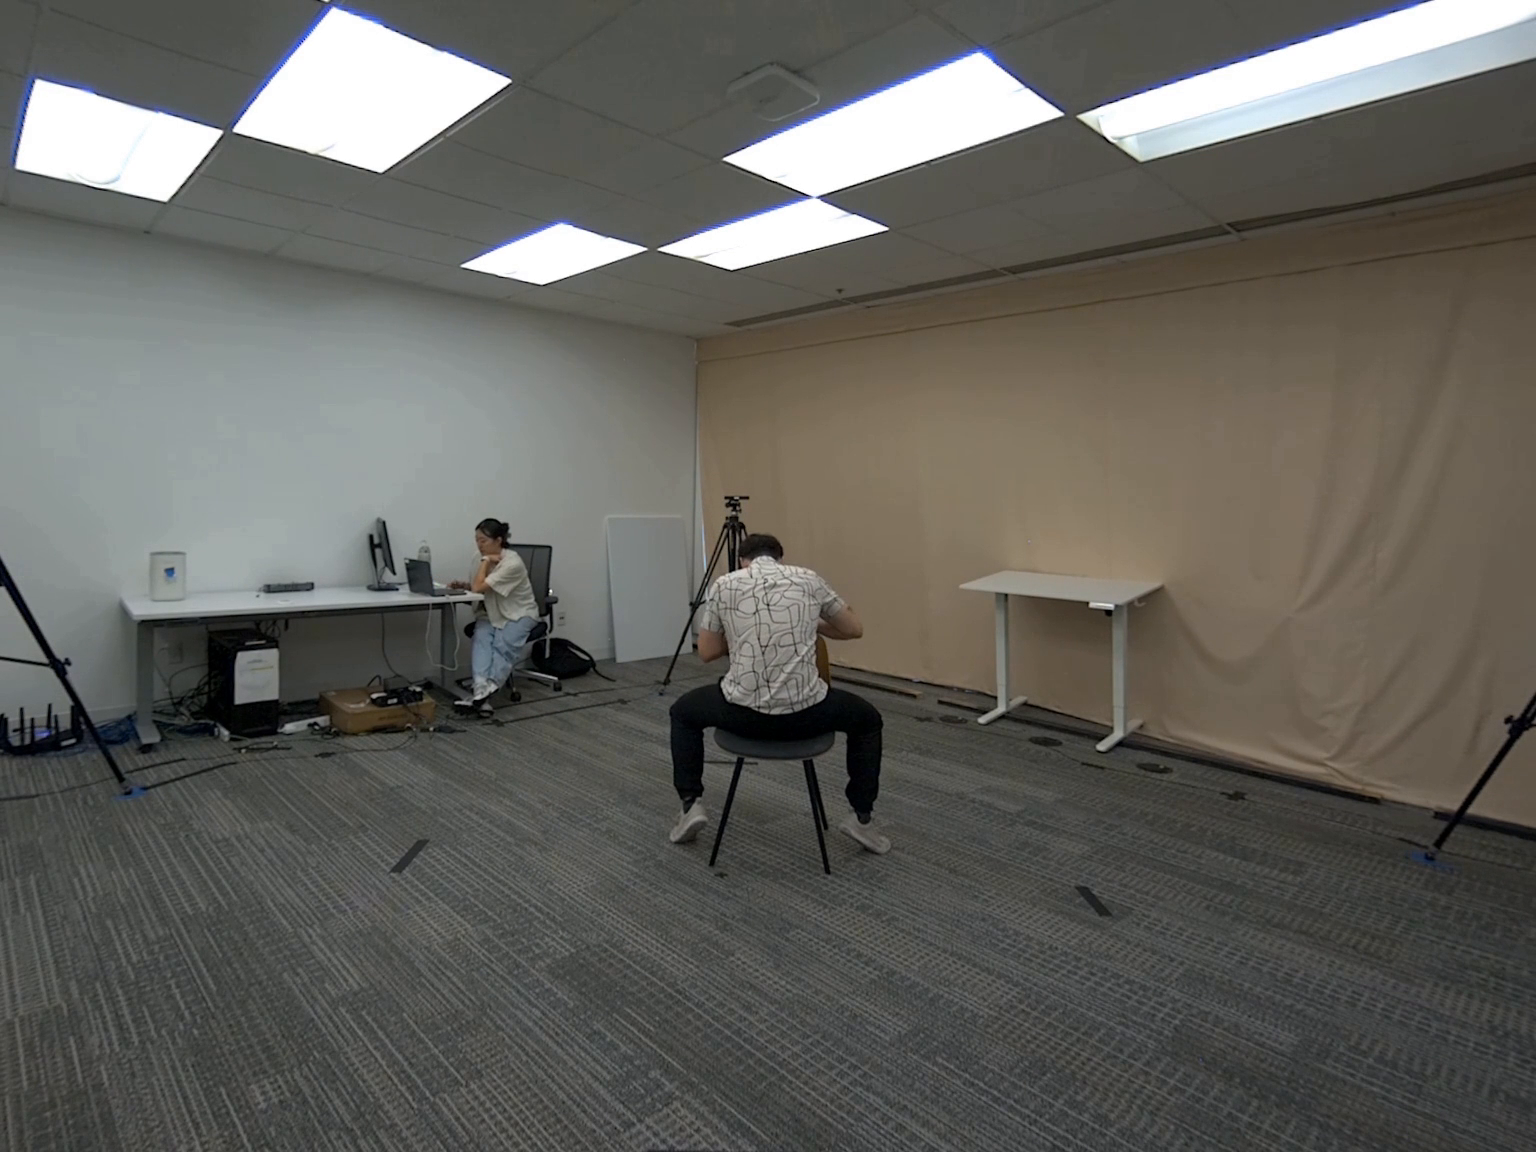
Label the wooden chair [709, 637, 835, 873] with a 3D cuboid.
[{"bbox_3d":[0.021,0.668,3.333,0.480,0.878,0.521,1,-1,4],"label":"wooden chair"}]
